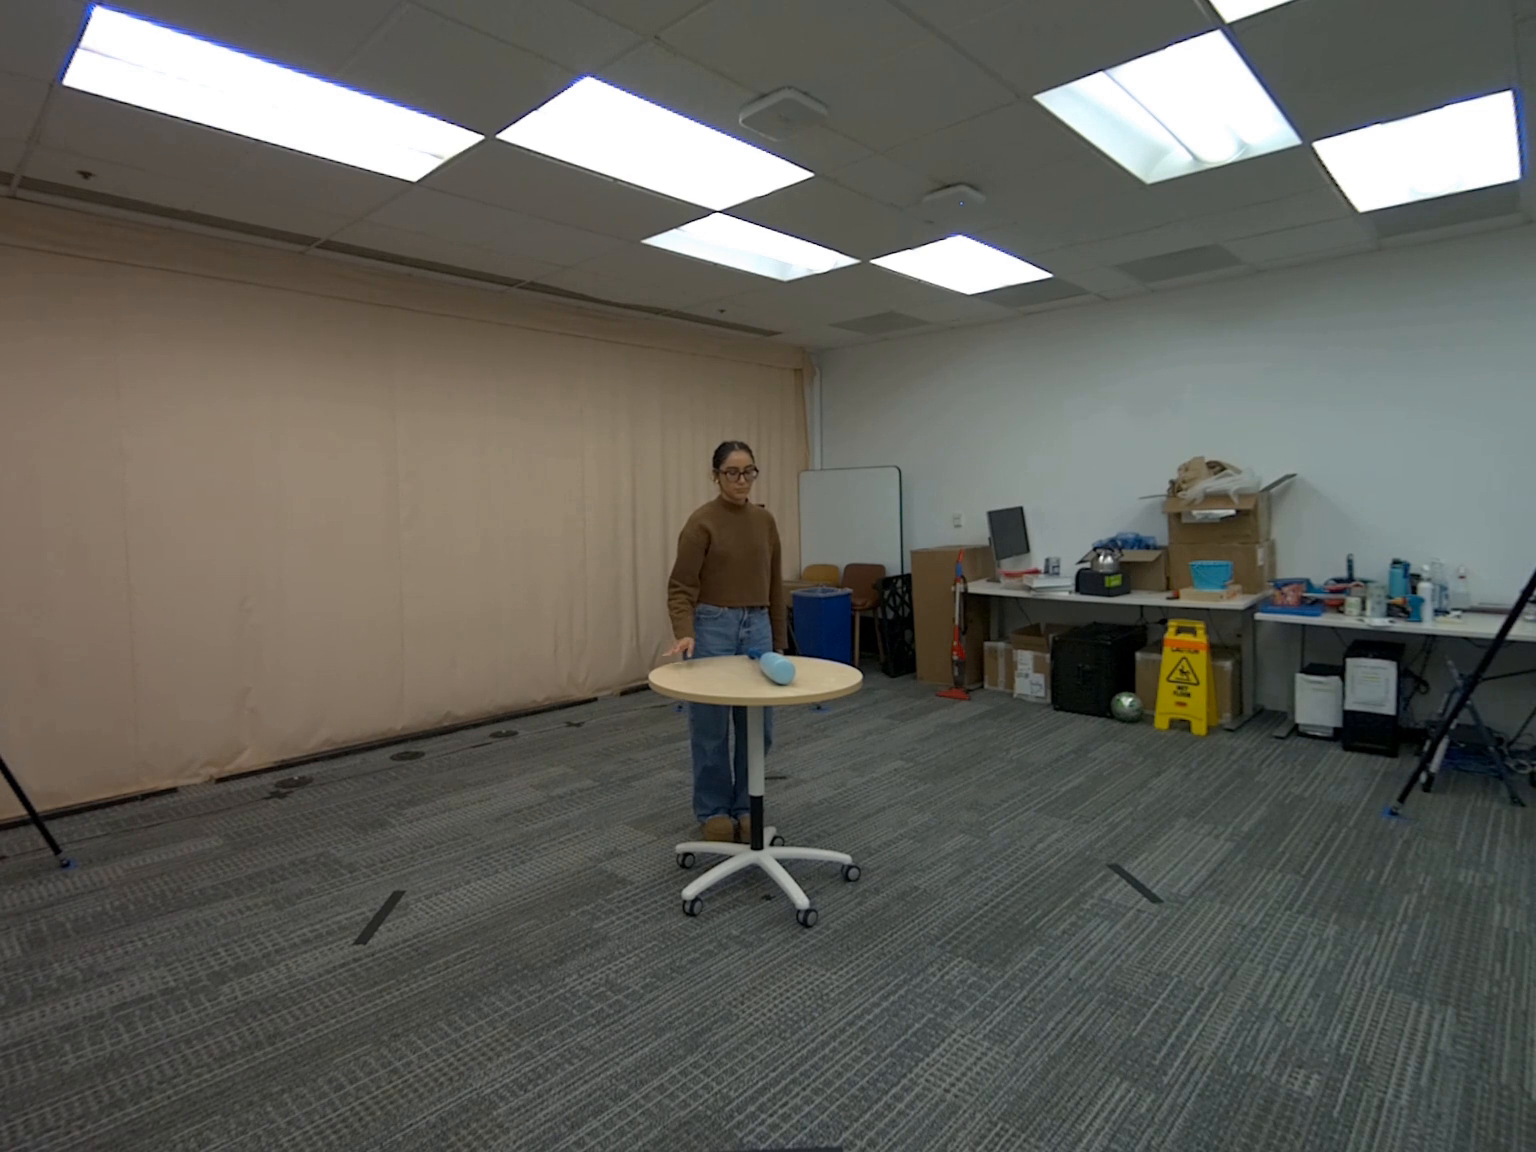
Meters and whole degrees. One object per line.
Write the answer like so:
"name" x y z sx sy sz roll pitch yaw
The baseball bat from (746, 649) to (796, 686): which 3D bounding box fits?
"baseball bat" 0.000 0.314 3.074 0.088 0.089 0.548 -2 2 -11
